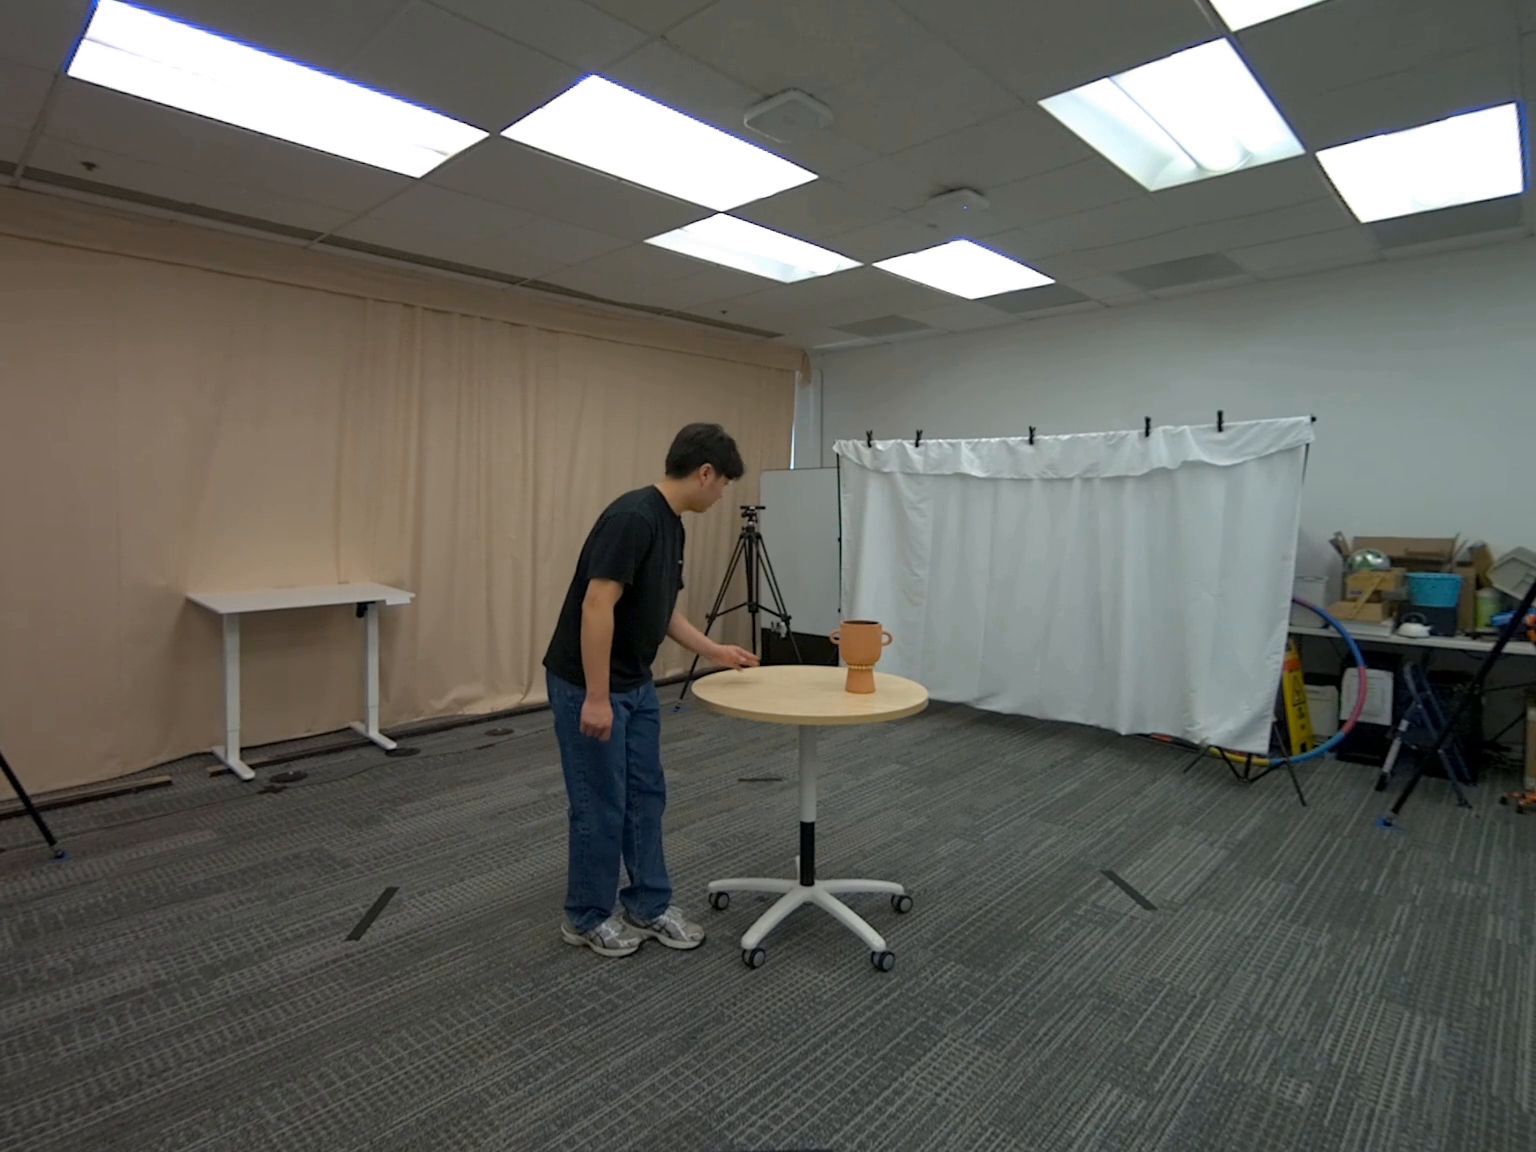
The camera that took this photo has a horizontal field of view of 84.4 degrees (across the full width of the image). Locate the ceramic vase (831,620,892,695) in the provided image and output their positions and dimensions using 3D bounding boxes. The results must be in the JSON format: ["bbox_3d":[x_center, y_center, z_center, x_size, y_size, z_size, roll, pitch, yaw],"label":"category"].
[{"bbox_3d":[0.307,0.261,2.704,0.164,0.219,0.130,3,2,44],"label":"ceramic vase"}]
